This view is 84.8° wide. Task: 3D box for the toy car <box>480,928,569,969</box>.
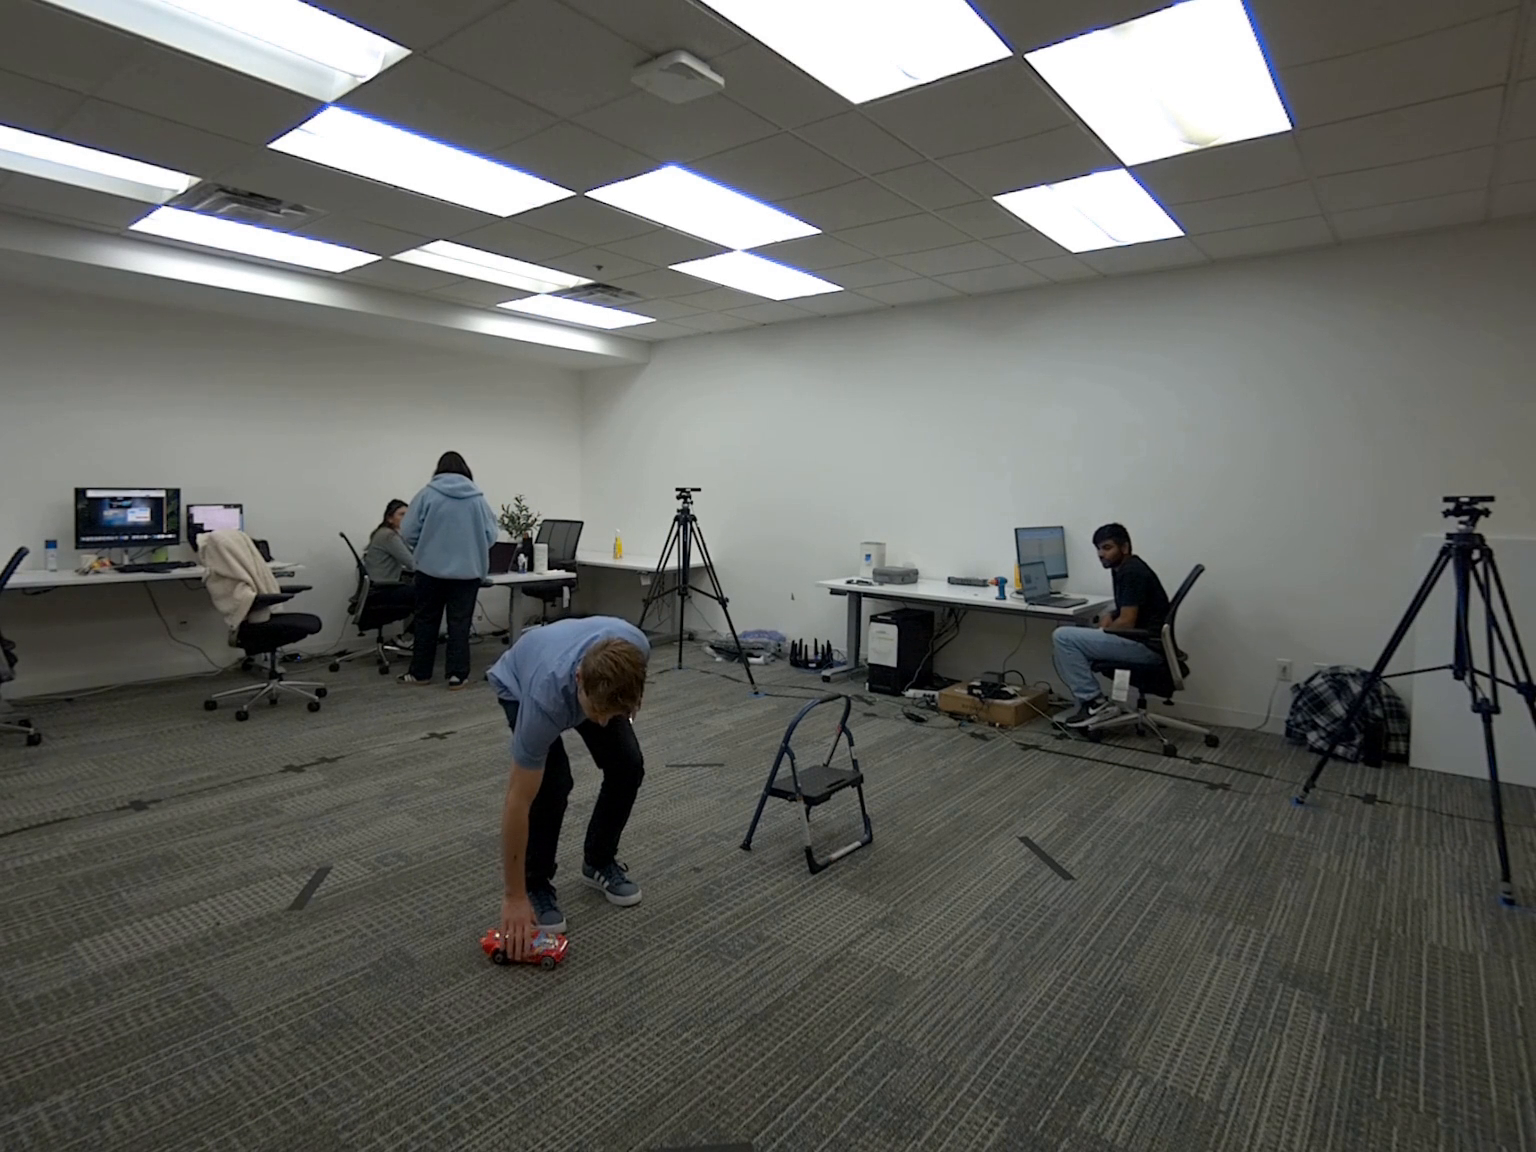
[{"bbox_3d":[-0.739,1.088,2.507,0.256,0.083,0.130,11,7,5],"label":"toy car"}]
